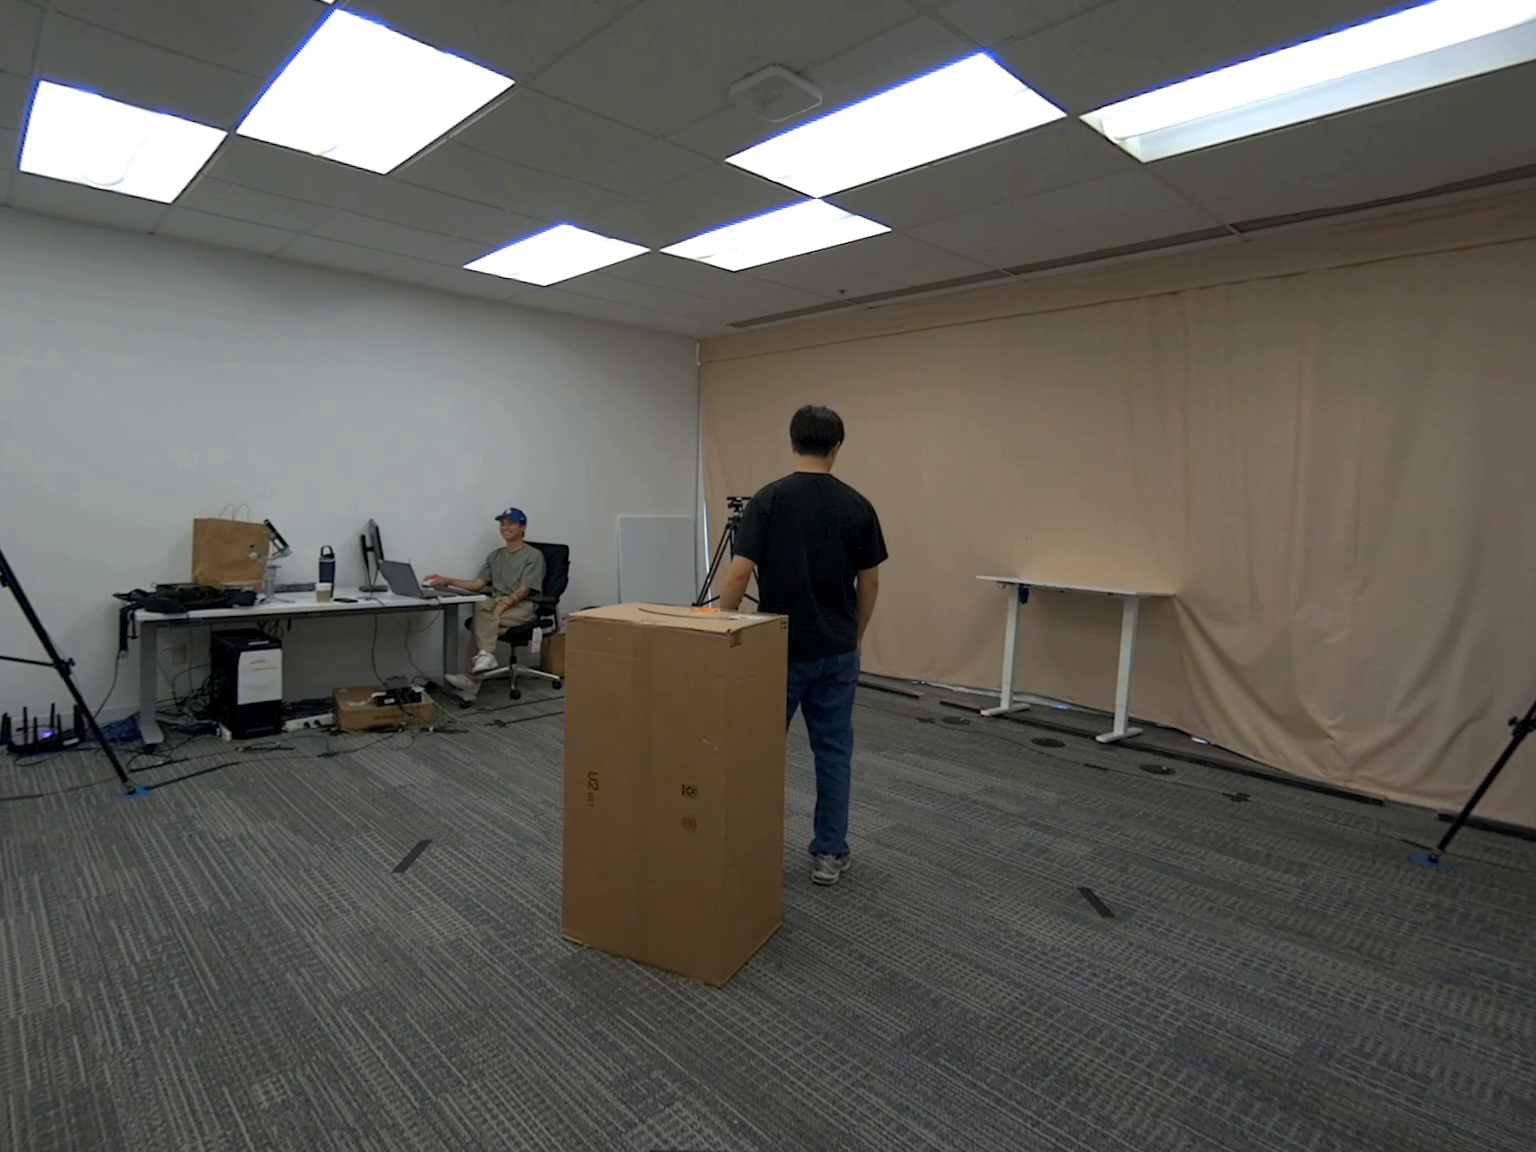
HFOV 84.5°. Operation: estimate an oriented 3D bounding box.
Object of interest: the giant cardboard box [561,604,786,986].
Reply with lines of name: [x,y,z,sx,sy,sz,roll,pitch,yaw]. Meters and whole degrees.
giant cardboard box: [-0.296,0.630,2.675,0.596,1.025,0.438,3,2,28]
